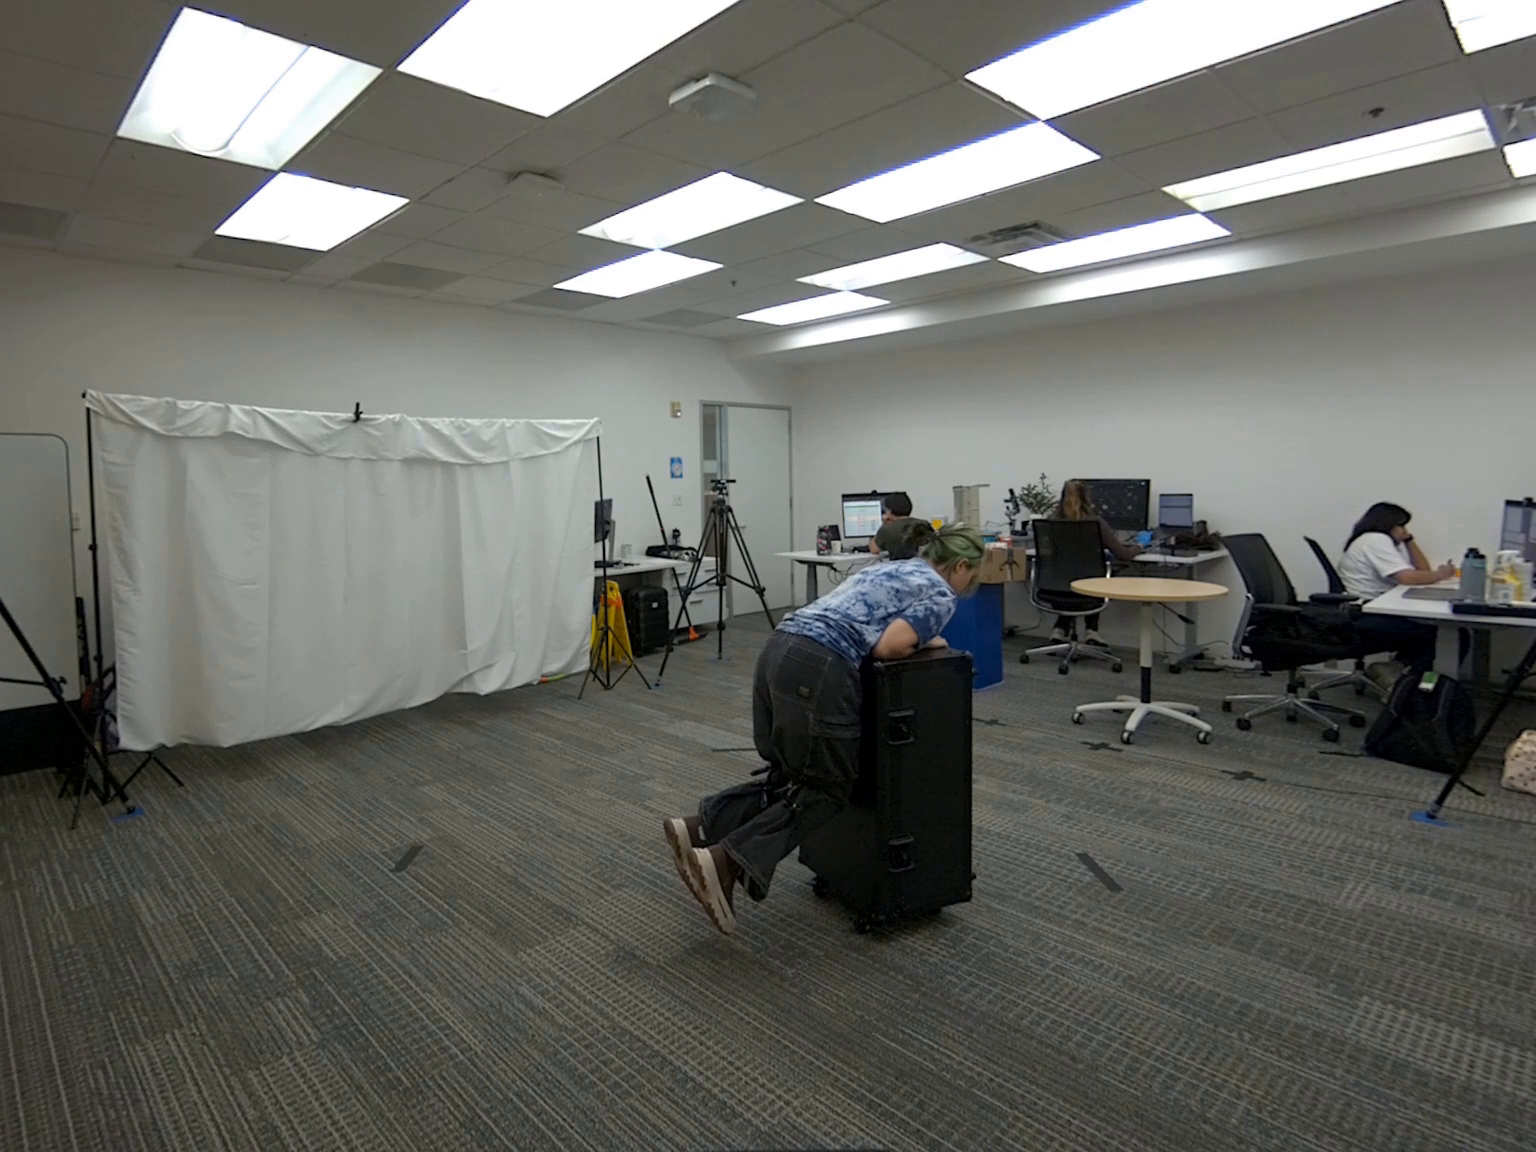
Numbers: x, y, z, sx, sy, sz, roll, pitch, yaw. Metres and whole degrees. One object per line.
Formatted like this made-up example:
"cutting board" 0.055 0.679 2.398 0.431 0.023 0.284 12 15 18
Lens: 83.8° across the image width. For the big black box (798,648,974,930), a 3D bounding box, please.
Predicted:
"big black box" 0.383 0.596 2.796 0.388 0.858 0.534 -2 5 -26
